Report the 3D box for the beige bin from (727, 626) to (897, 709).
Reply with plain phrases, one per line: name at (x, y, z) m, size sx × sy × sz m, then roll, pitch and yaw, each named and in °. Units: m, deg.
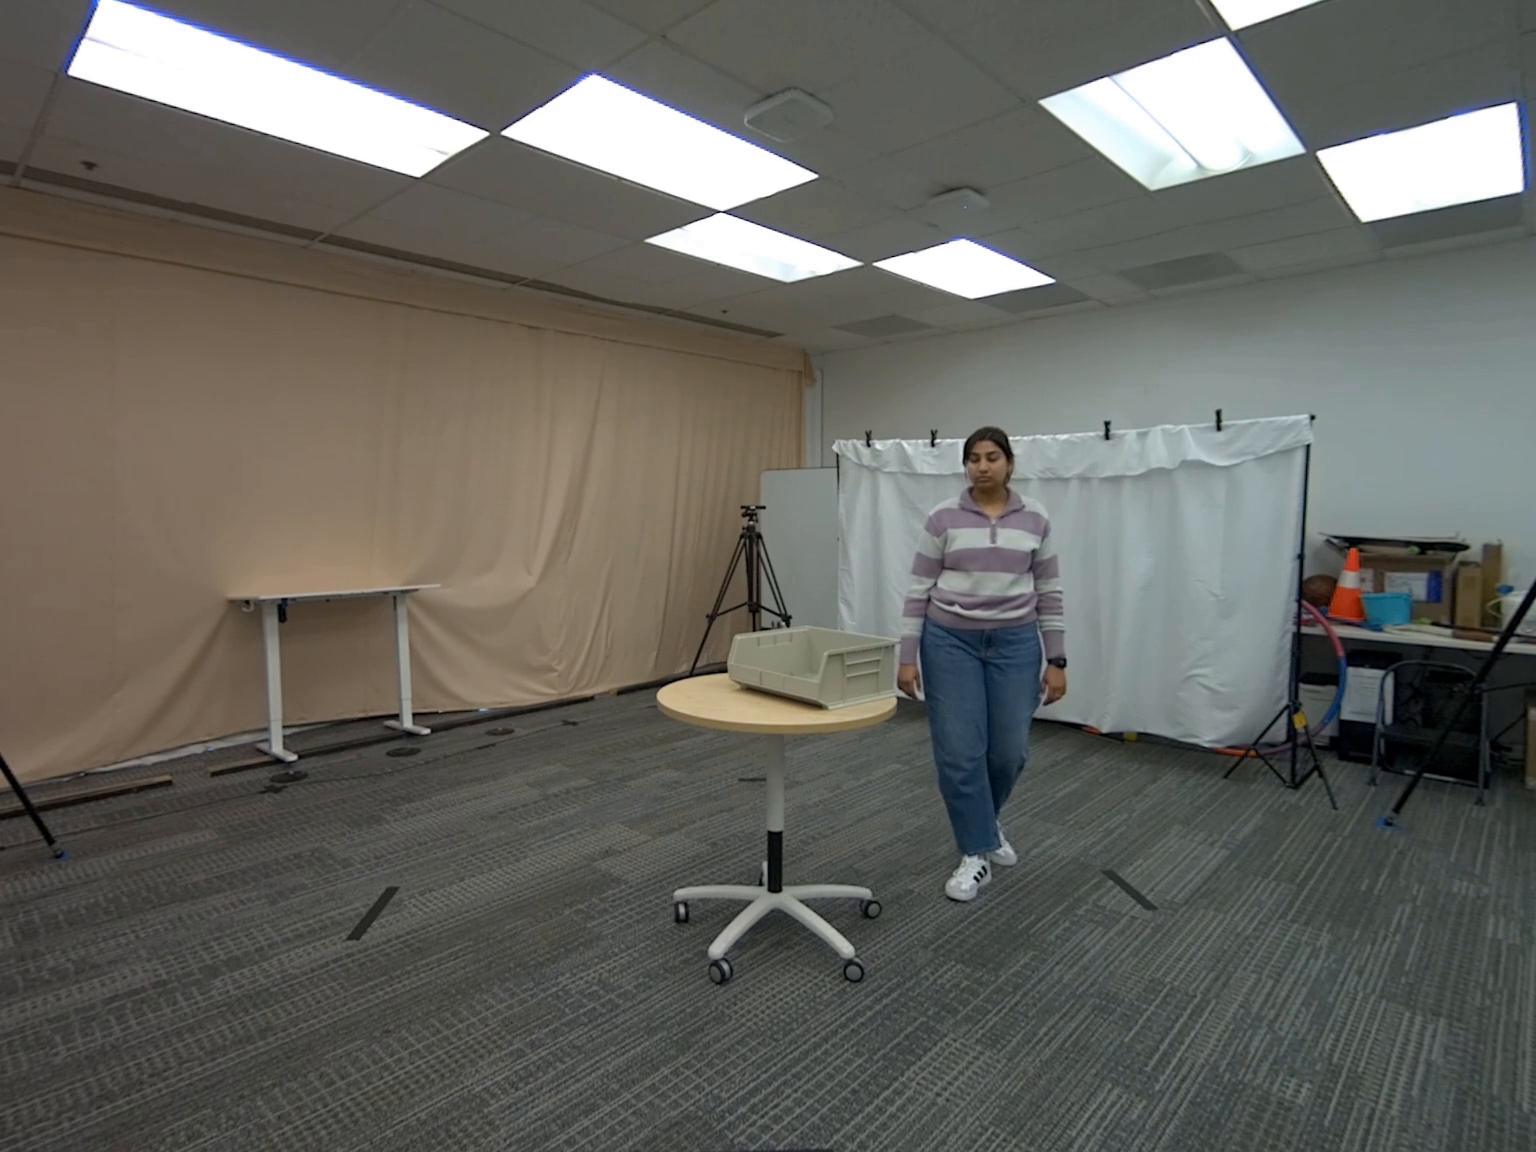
beige bin at (0.148, 0.293, 2.737) m, size 0.365 × 0.189 × 0.436 m, roll -2°, pitch 4°, yaw -41°
